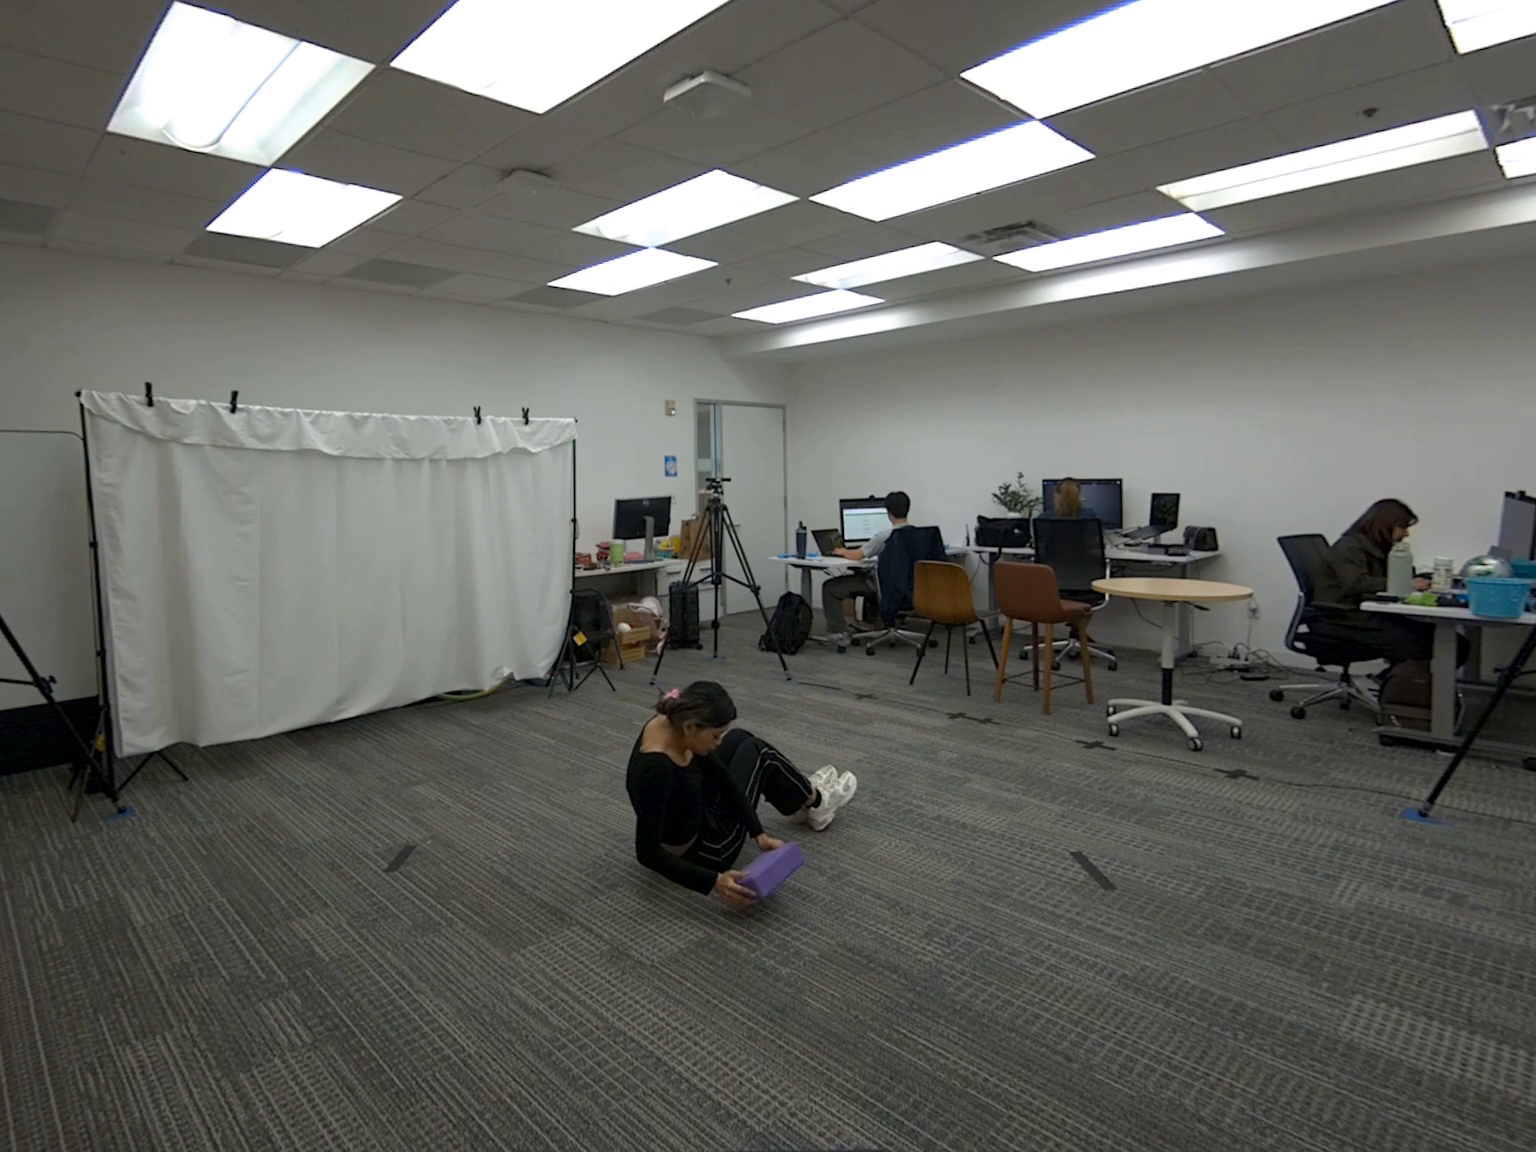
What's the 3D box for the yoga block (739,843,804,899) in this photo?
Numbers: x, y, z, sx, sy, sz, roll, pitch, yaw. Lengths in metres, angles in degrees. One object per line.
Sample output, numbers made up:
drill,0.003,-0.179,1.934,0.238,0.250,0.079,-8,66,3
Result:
yoga block,-0.020,0.959,2.766,0.150,0.077,0.225,-29,-3,34
